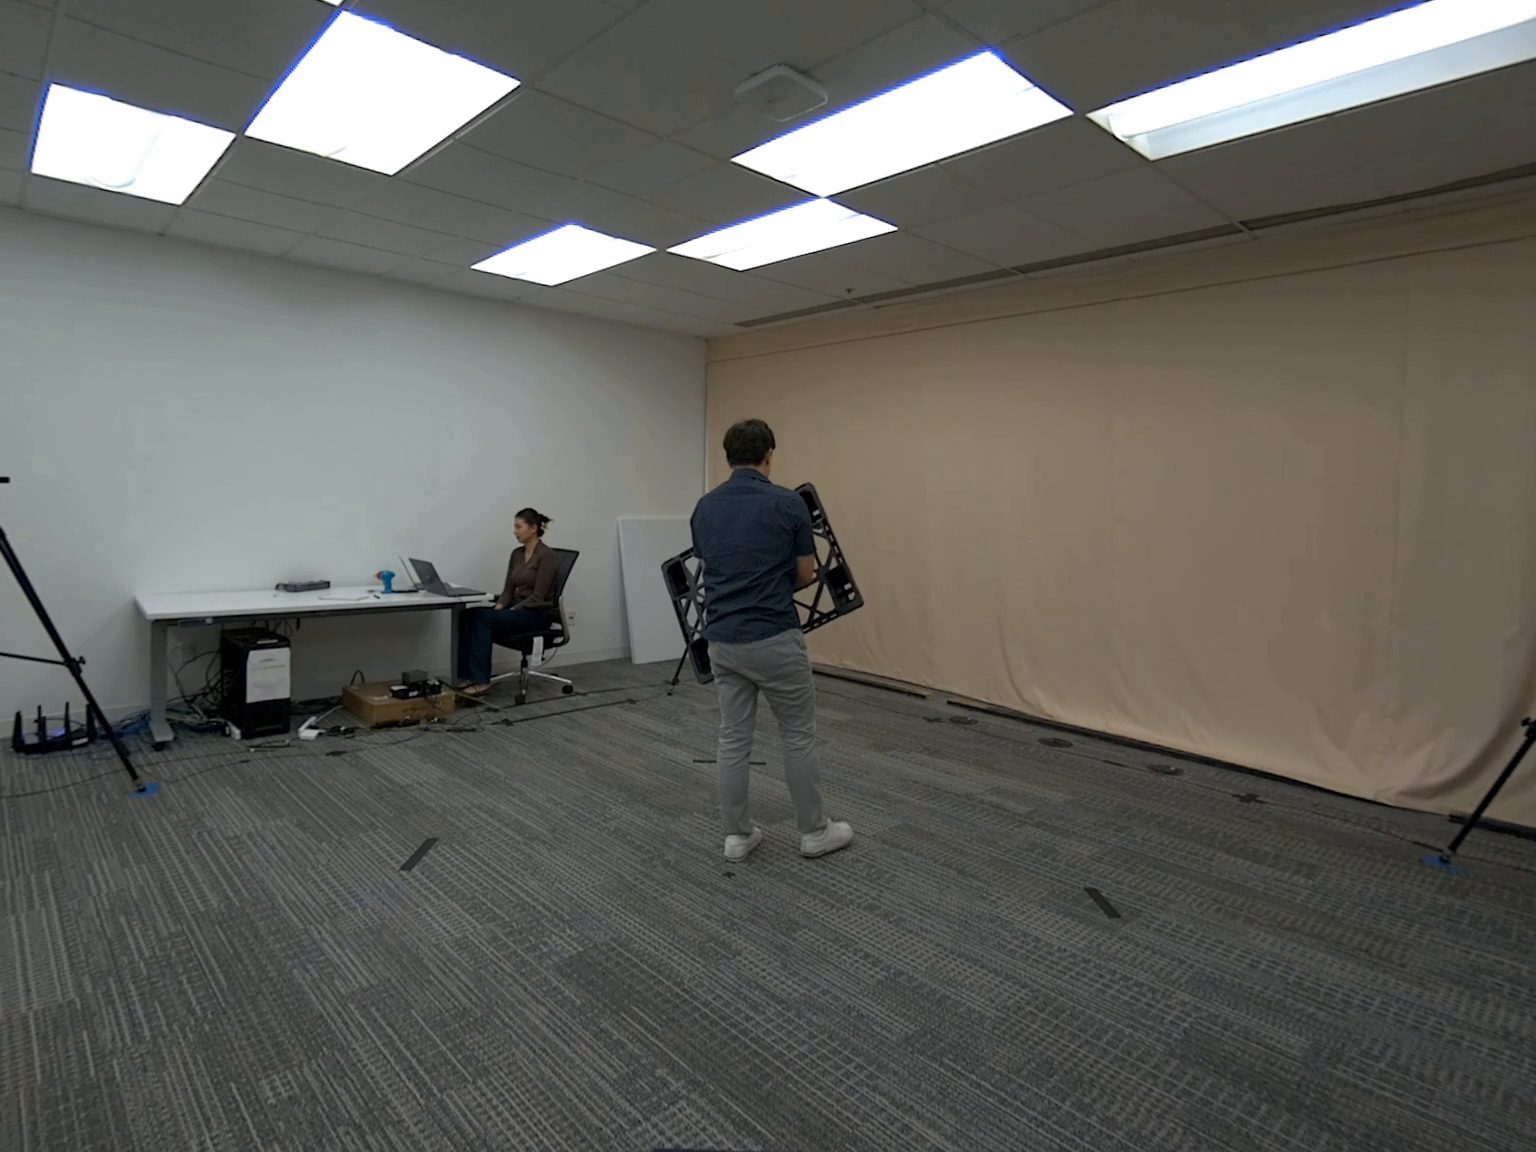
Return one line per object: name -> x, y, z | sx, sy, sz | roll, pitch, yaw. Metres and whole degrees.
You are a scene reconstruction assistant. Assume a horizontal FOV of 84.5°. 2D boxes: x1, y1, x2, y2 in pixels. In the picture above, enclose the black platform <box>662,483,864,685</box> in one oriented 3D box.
black platform -> -0.041, 0.043, 3.657 | 0.810, 0.619, 0.139 | -29, -26, 17
